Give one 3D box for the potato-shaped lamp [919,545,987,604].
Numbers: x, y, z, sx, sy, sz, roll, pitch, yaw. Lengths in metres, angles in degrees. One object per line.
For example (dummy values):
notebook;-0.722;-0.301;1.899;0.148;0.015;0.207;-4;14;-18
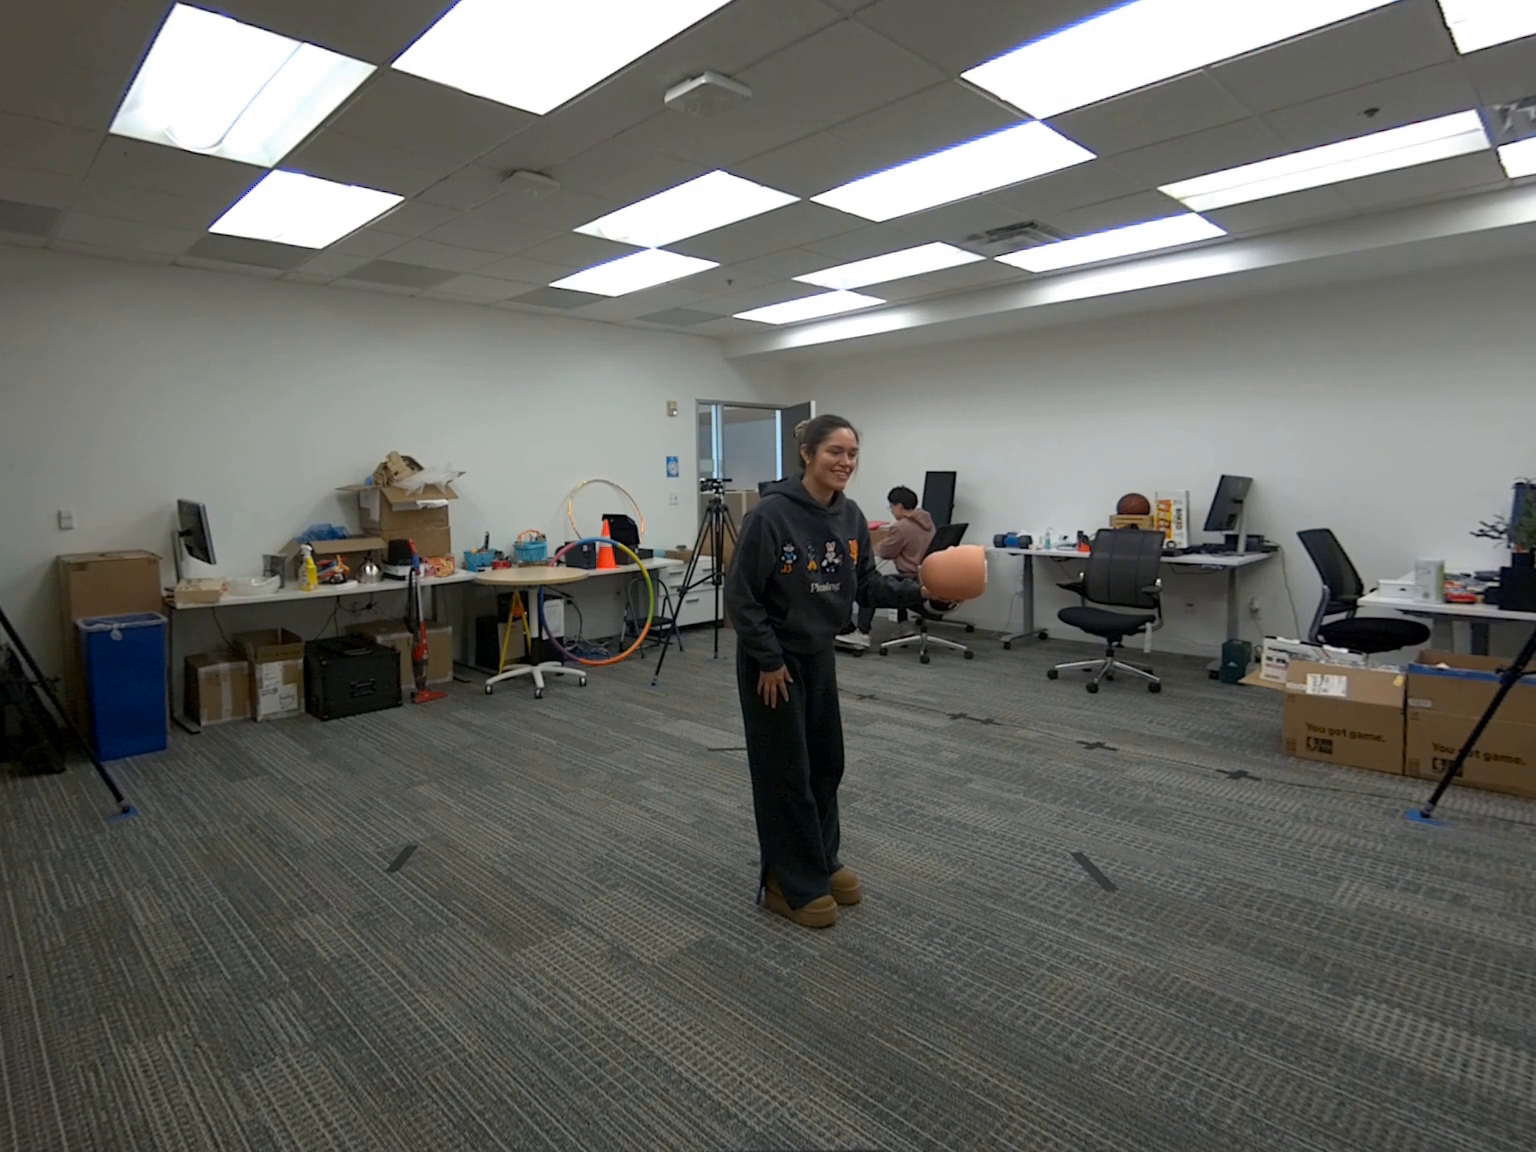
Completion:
potato-shaped lamp;0.569;-0.012;2.638;0.201;0.159;0.174;2;41;16
